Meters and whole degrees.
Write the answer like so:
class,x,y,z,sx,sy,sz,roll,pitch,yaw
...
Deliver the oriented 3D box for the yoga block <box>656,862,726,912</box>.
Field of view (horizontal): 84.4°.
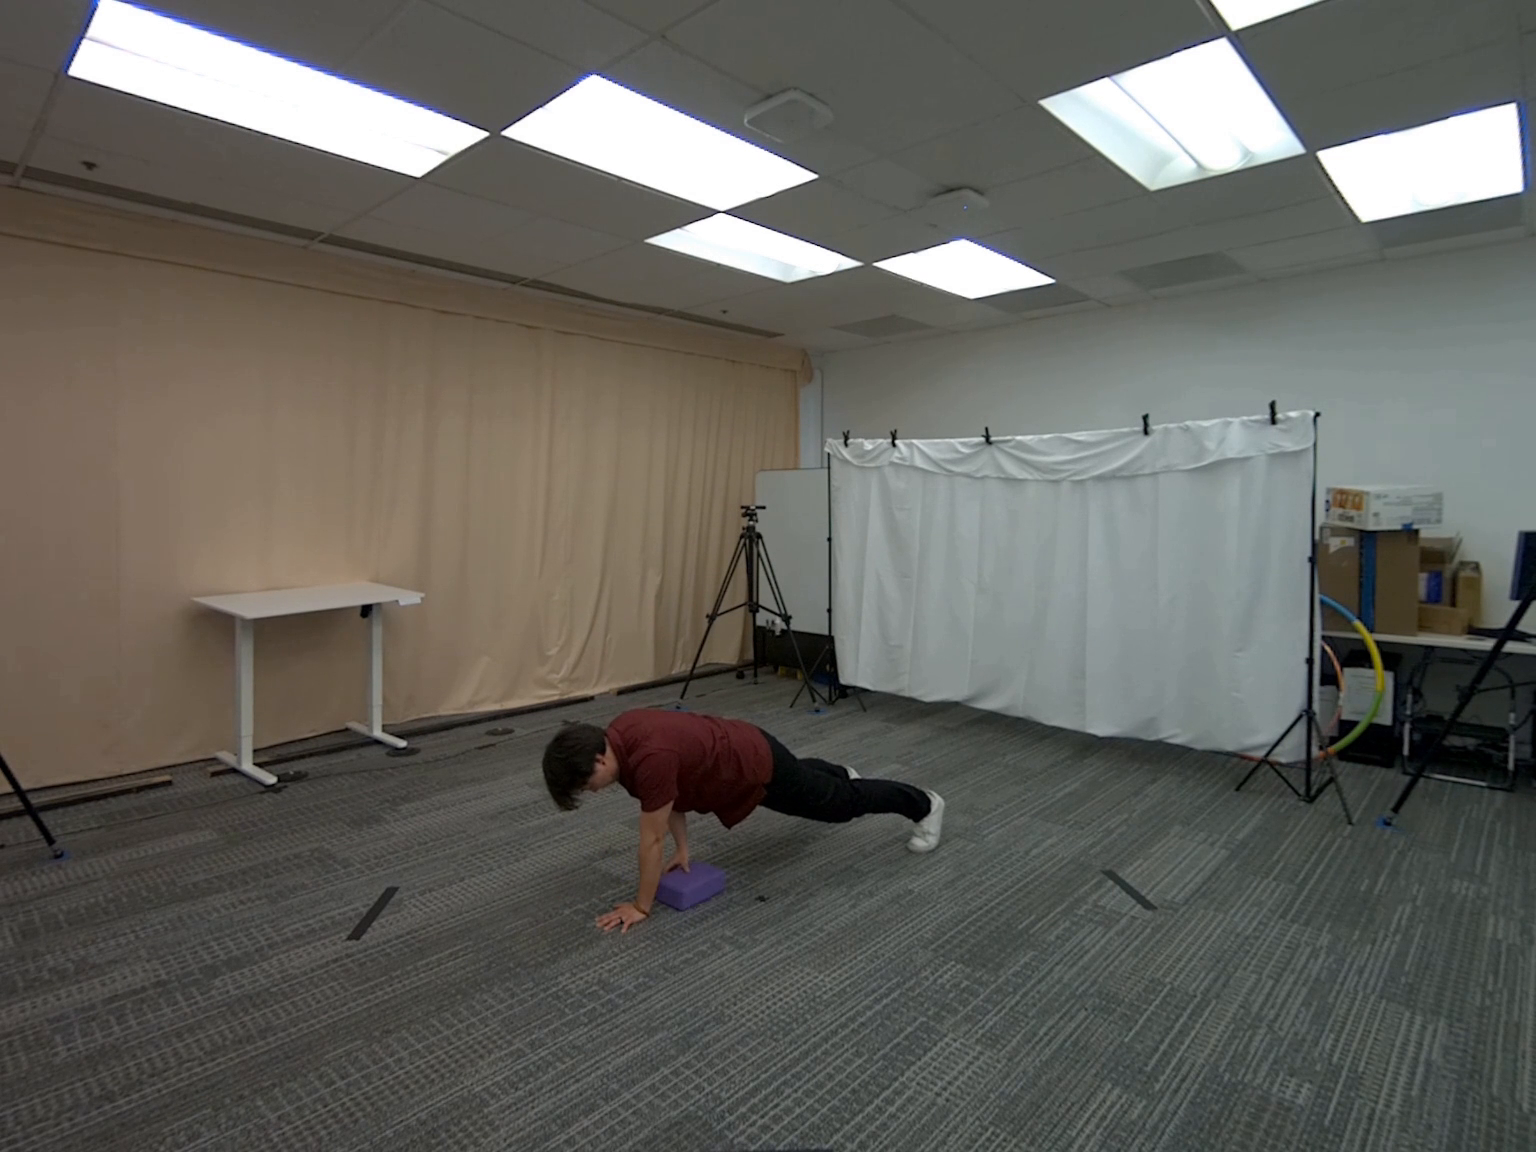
class,x,y,z,sx,sy,sz,roll,pitch,yaw
yoga block,-0.282,1.098,3.013,0.154,0.076,0.222,4,7,41
